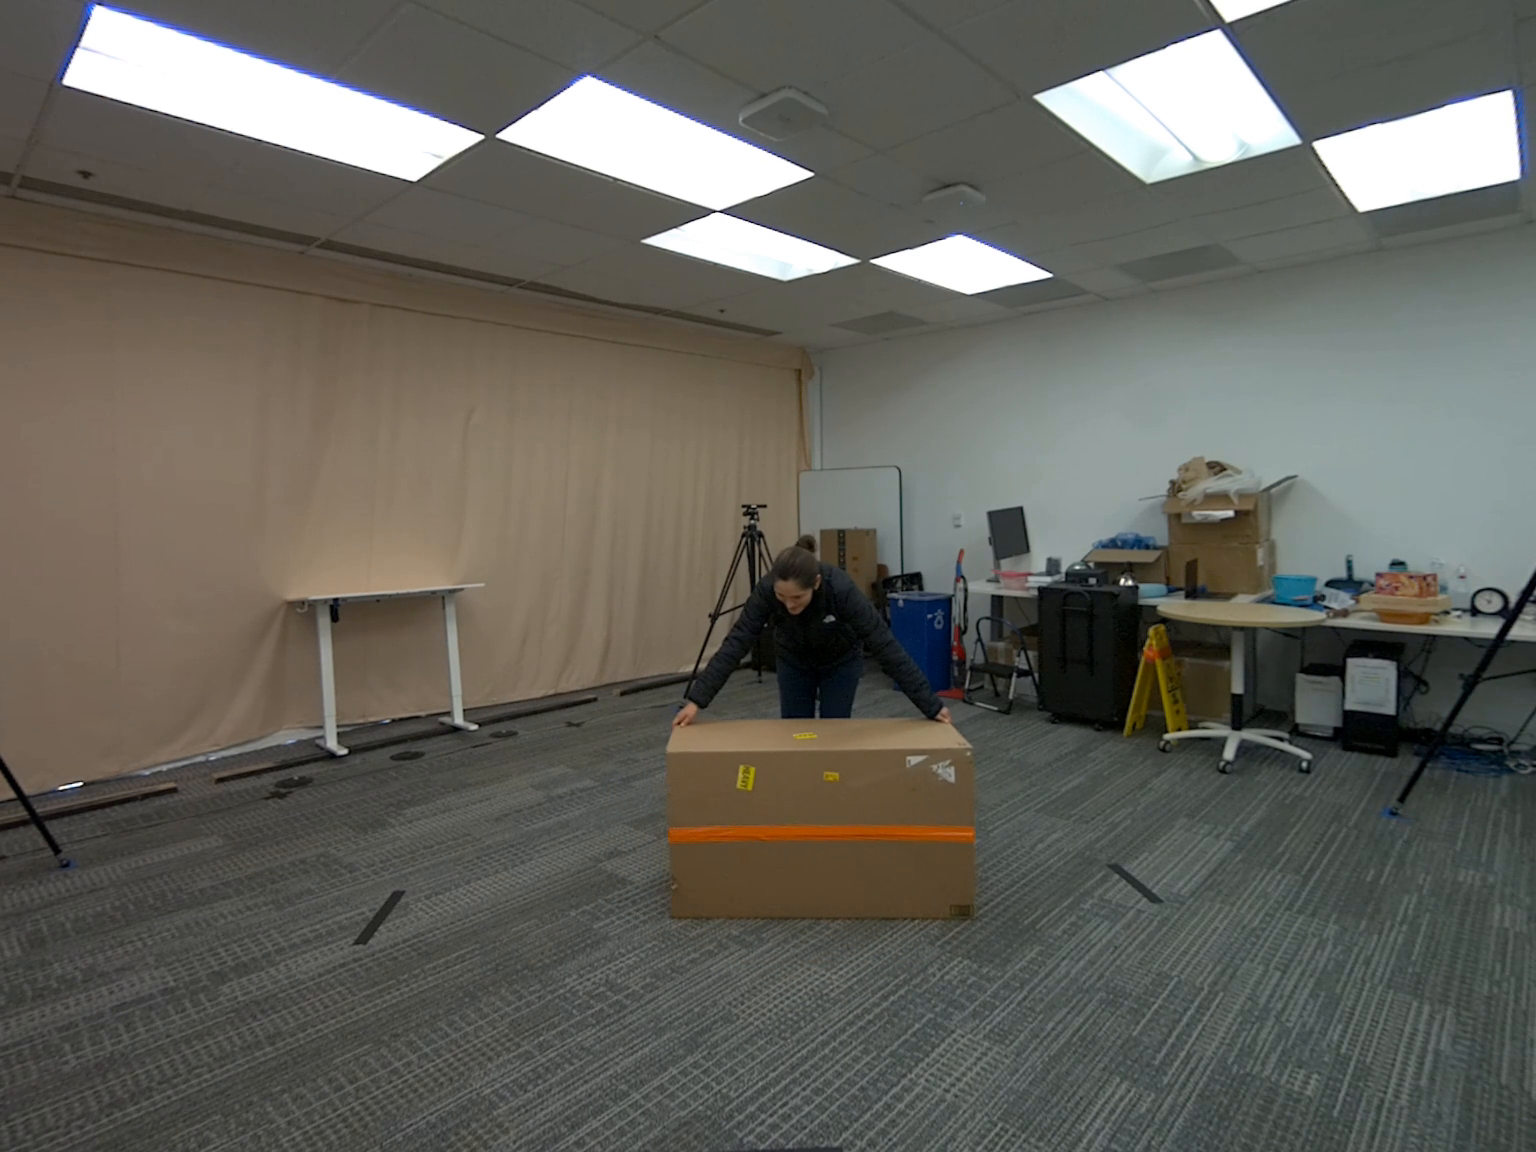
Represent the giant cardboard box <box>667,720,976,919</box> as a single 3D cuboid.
[{"bbox_3d":[0.188,0.846,3.012,1.029,0.582,0.447,-1,4,1],"label":"giant cardboard box"}]
